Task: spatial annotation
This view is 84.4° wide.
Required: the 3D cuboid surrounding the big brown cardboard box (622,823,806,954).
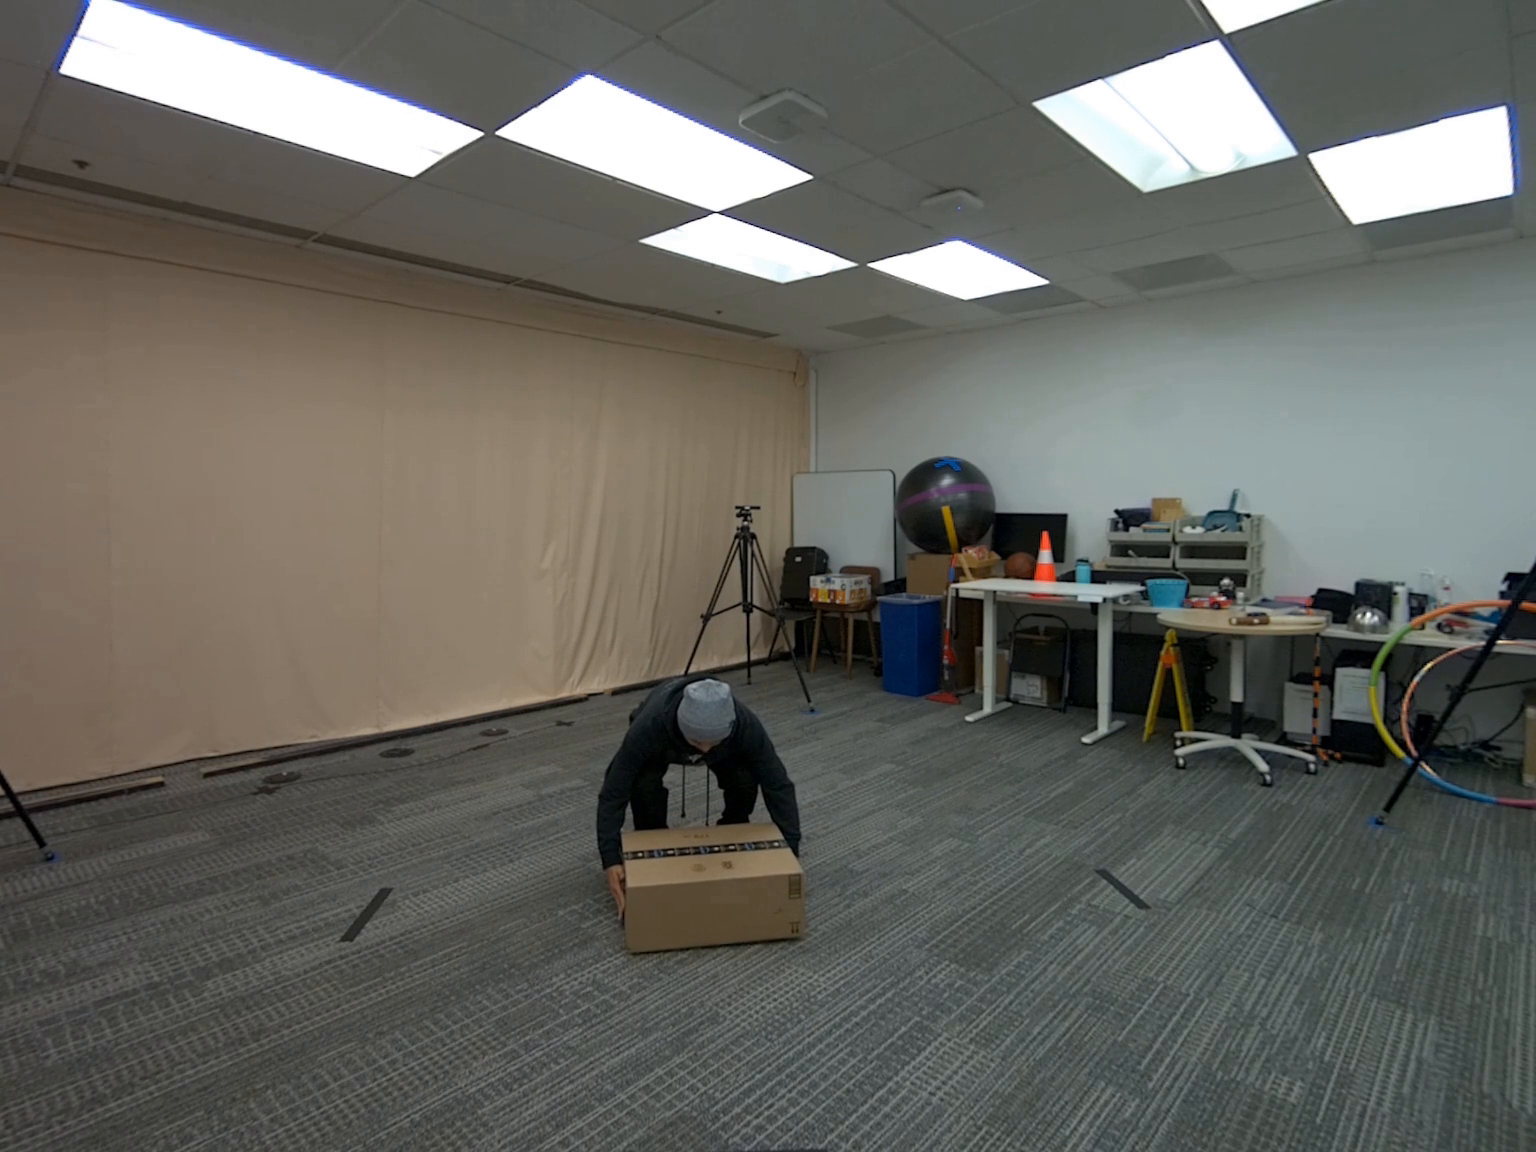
[{"bbox_3d":[-0.204,1.029,2.837,0.583,0.232,0.423,-2,5,-9],"label":"big brown cardboard box"}]
